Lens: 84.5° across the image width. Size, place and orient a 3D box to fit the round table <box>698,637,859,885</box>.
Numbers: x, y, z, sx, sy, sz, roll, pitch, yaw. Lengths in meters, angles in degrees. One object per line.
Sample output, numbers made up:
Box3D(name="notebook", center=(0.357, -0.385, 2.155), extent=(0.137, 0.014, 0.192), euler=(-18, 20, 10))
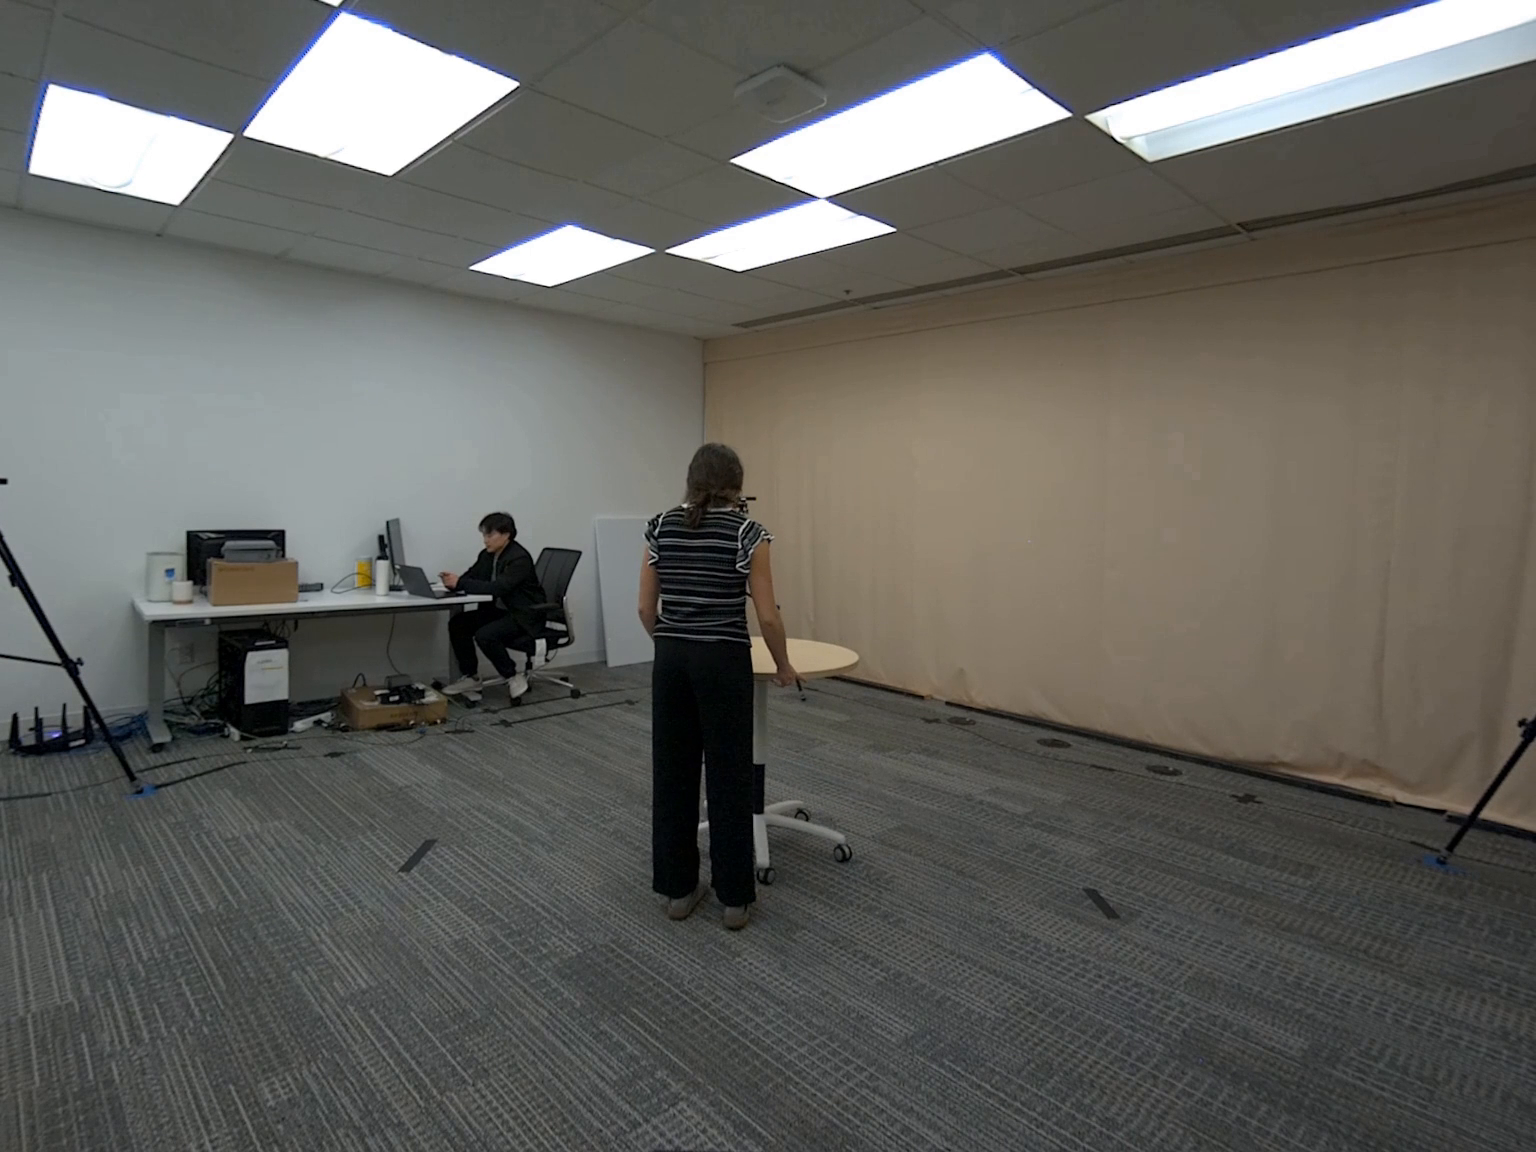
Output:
Box3D(name="round table", center=(-0.039, 0.697, 3.338), extent=(0.784, 0.785, 0.787), euler=(1, 4, -1))
